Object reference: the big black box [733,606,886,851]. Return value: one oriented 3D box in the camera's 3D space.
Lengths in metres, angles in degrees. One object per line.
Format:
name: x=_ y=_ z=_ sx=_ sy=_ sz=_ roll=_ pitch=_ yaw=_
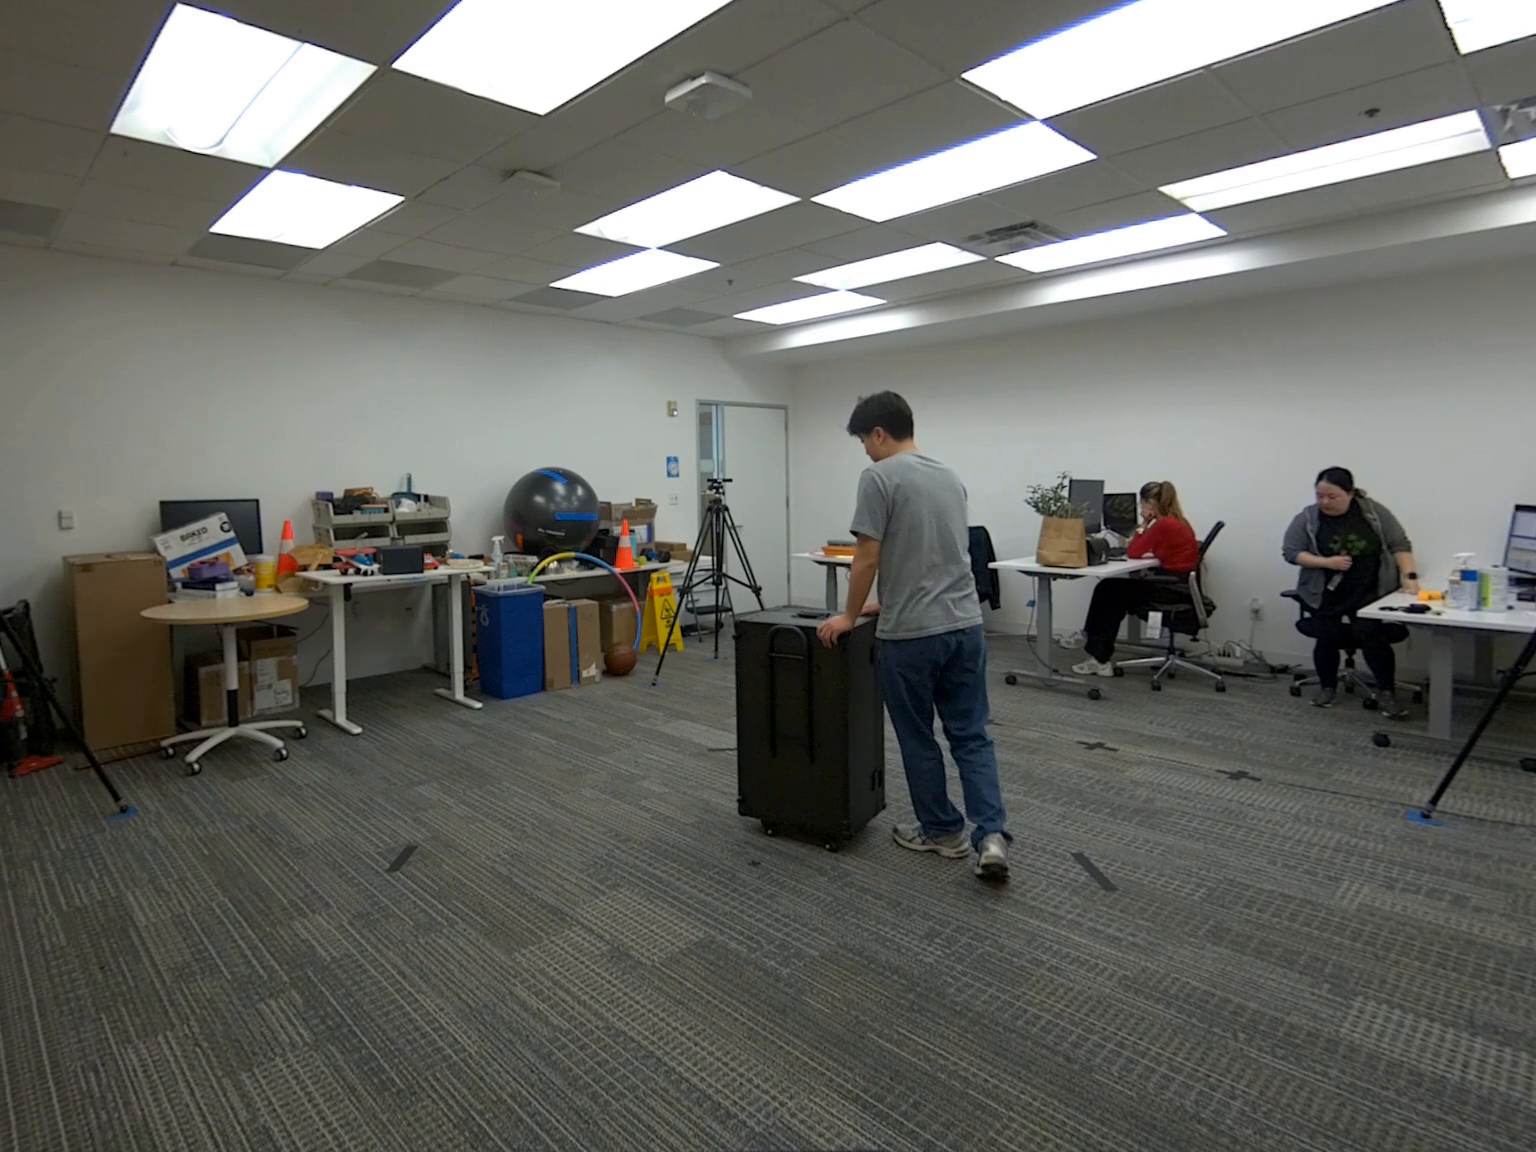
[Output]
big black box: x=0.164 y=0.588 z=3.369 sx=0.535 sy=0.857 sz=0.387 roll=2 pitch=6 yaw=31
